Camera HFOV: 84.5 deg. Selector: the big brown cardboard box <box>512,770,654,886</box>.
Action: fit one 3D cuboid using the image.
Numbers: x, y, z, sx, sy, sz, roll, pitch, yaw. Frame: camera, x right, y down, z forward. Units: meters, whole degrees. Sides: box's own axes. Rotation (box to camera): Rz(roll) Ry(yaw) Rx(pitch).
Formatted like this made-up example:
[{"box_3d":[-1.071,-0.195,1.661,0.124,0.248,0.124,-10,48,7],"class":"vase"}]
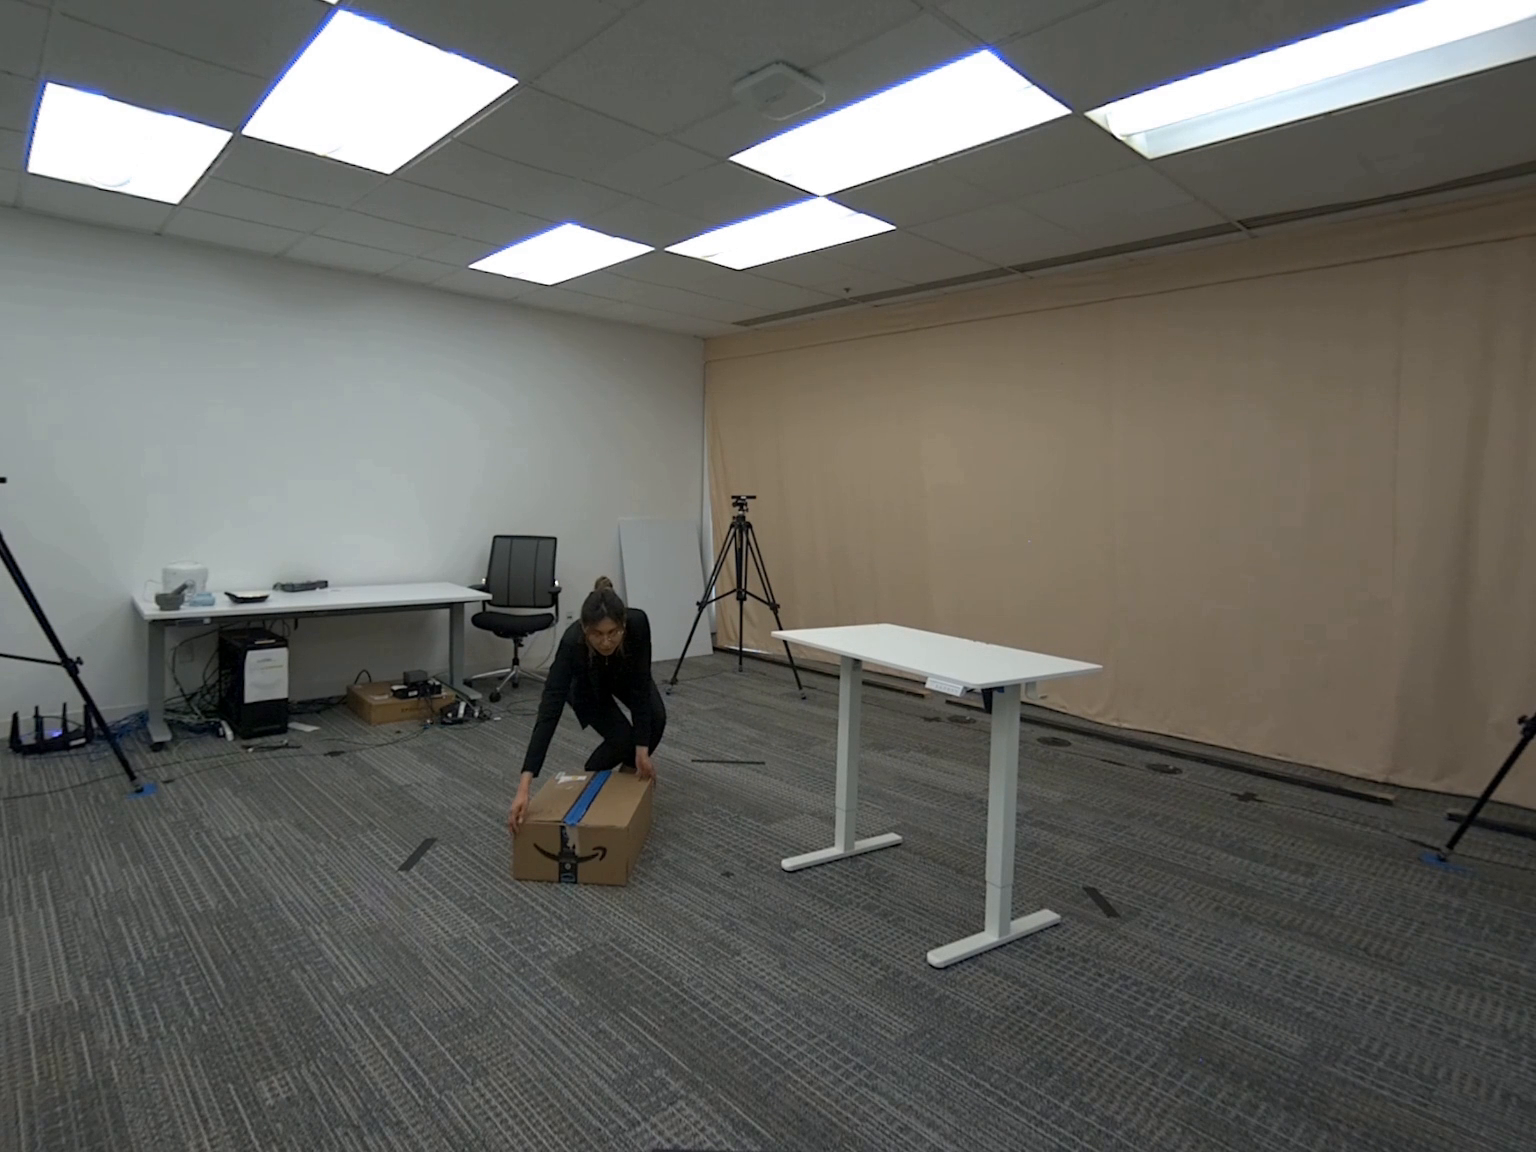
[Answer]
[{"box_3d":[-0.712,0.962,3.275,0.418,0.232,0.589,1,5,2],"class":"big brown cardboard box"}]
